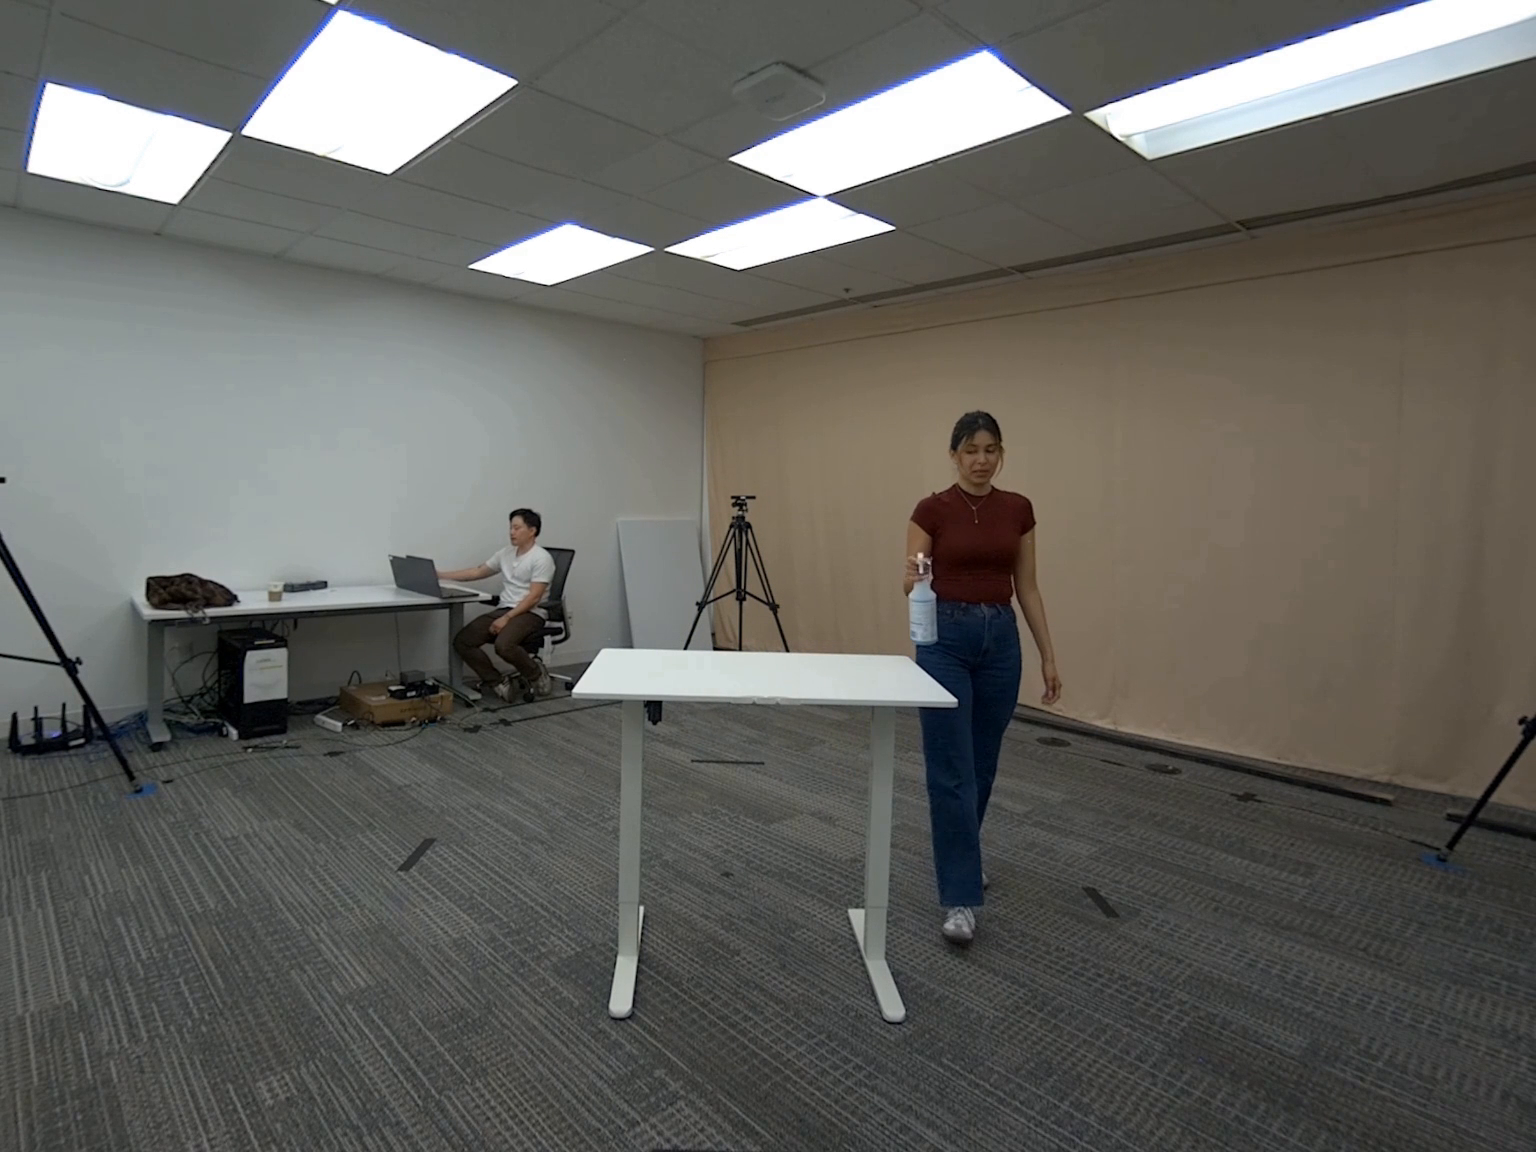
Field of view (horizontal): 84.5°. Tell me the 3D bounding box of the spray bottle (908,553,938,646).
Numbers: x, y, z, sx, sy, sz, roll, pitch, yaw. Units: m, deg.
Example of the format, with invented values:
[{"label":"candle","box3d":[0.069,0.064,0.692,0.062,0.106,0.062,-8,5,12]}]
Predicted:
[{"label":"spray bottle","box3d":[0.485,0.074,2.697,0.089,0.294,0.089,6,17,31]}]
